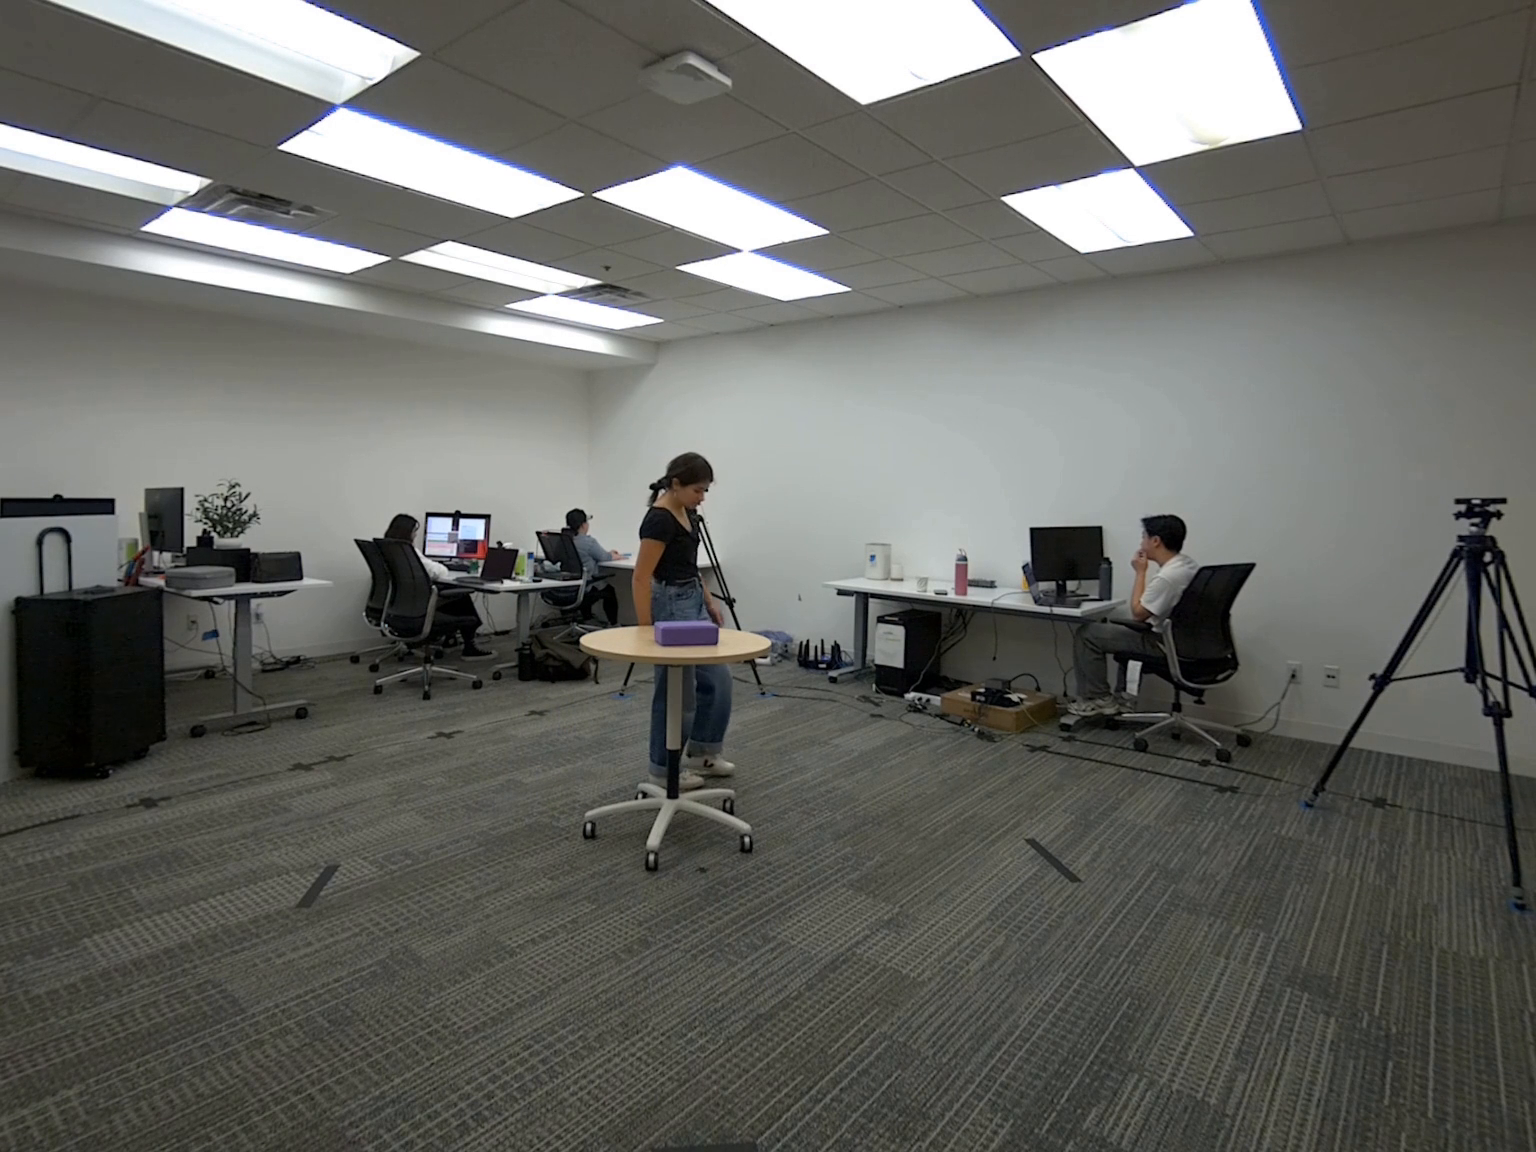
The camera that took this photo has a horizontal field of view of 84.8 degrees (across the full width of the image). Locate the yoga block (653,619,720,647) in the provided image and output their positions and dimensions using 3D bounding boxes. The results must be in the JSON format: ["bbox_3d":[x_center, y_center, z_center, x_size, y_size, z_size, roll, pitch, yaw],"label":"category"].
[{"bbox_3d":[-0.318,0.219,3.350,0.226,0.076,0.152,-1,5,-16],"label":"yoga block"}]
